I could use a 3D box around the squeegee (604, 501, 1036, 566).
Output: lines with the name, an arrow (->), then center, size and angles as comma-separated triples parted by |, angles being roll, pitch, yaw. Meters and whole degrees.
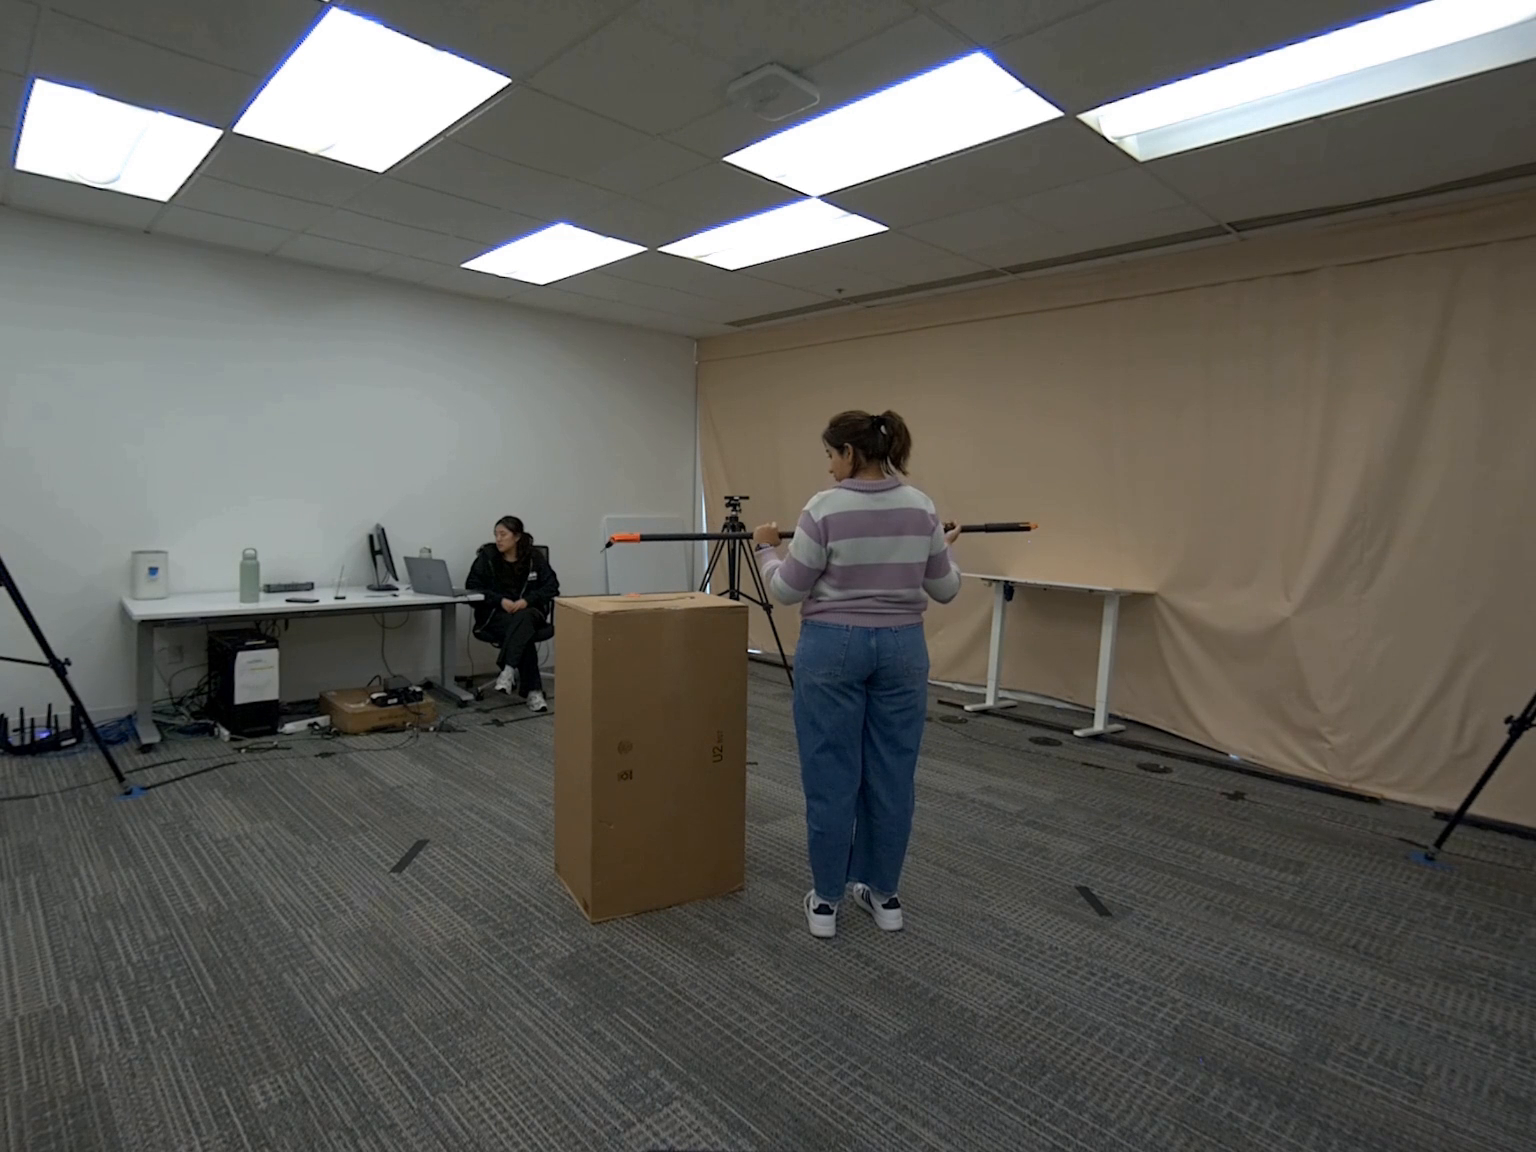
squeegee -> 0.193, -0.154, 2.959 | 1.534, 0.053, 0.440 | -3, 7, -3
